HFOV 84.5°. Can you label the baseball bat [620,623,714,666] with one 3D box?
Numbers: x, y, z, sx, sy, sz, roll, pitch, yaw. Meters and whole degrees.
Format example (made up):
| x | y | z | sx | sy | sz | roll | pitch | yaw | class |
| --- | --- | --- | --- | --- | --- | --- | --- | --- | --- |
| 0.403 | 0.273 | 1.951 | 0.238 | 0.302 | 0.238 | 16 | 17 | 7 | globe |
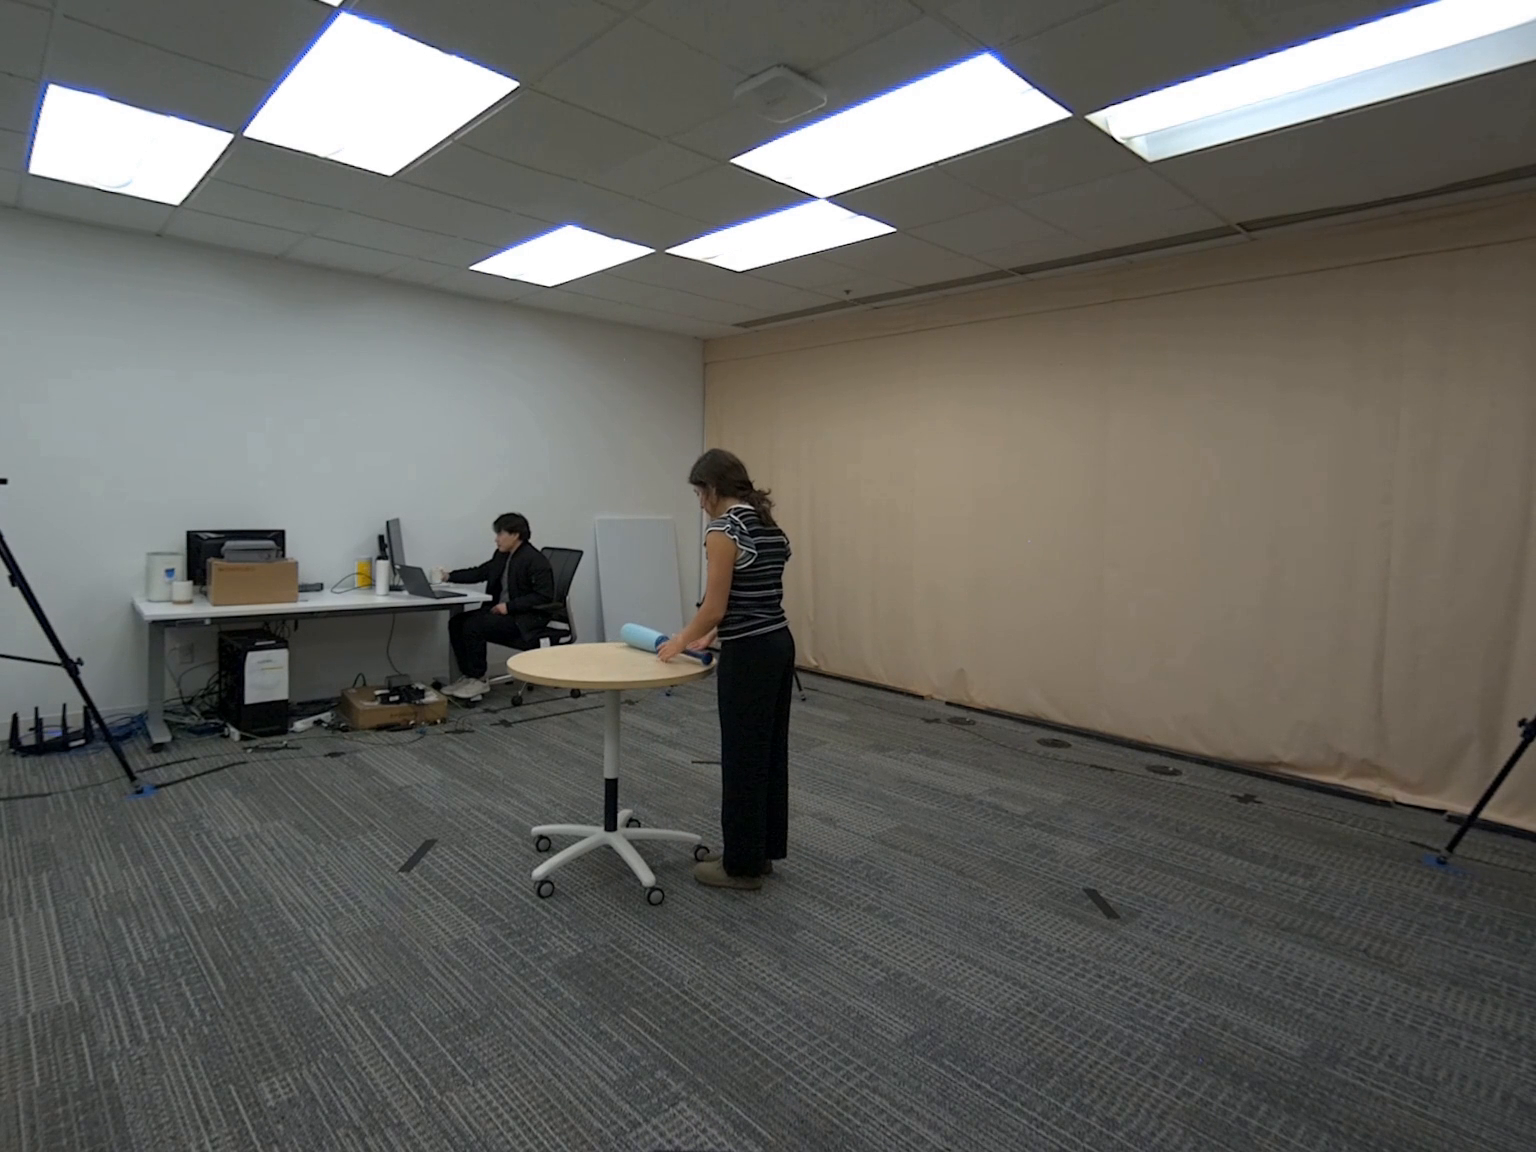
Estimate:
| x | y | z | sx | sy | sz | roll | pitch | yaw | class |
| --- | --- | --- | --- | --- | --- | --- | --- | --- | --- |
| -0.399 | 0.268 | 3.255 | 0.087 | 0.089 | 0.558 | -2 | 8 | -42 | baseball bat |
